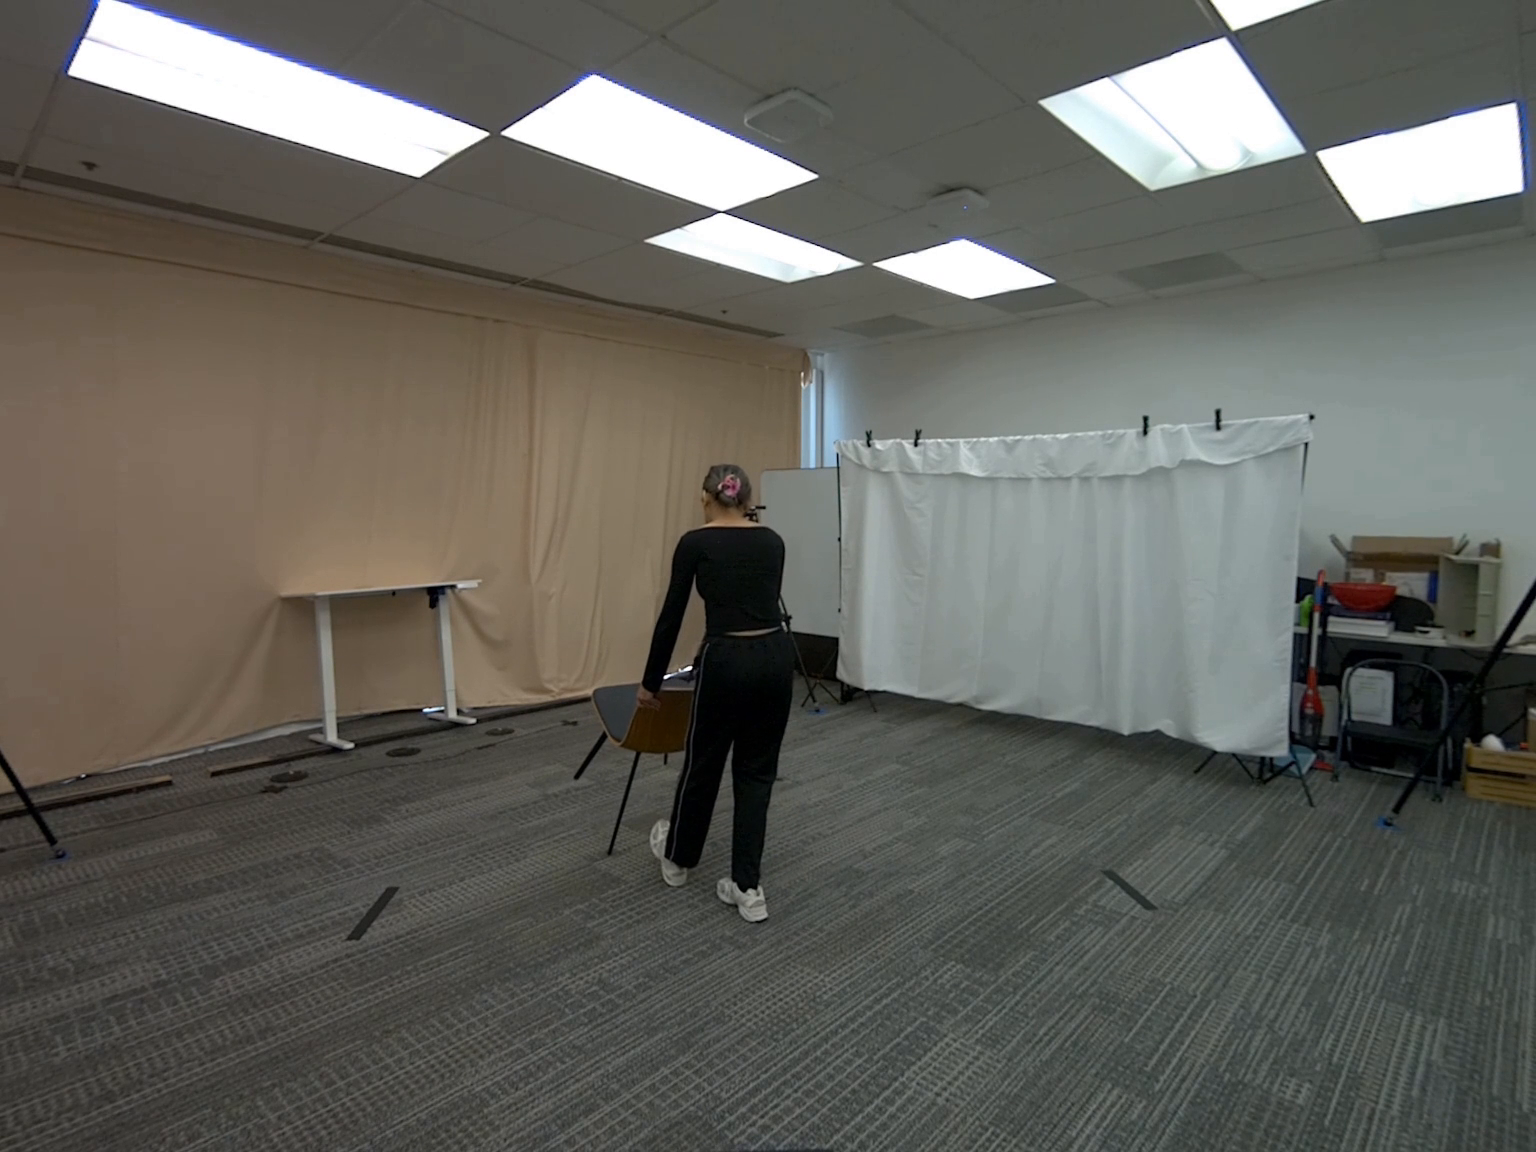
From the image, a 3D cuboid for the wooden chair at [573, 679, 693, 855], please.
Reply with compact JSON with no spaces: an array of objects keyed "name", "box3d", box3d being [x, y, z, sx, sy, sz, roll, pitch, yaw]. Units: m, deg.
[{"name":"wooden chair","box3d":[-0.460,0.622,3.464,0.465,0.870,0.541,-2,35,-30]}]
